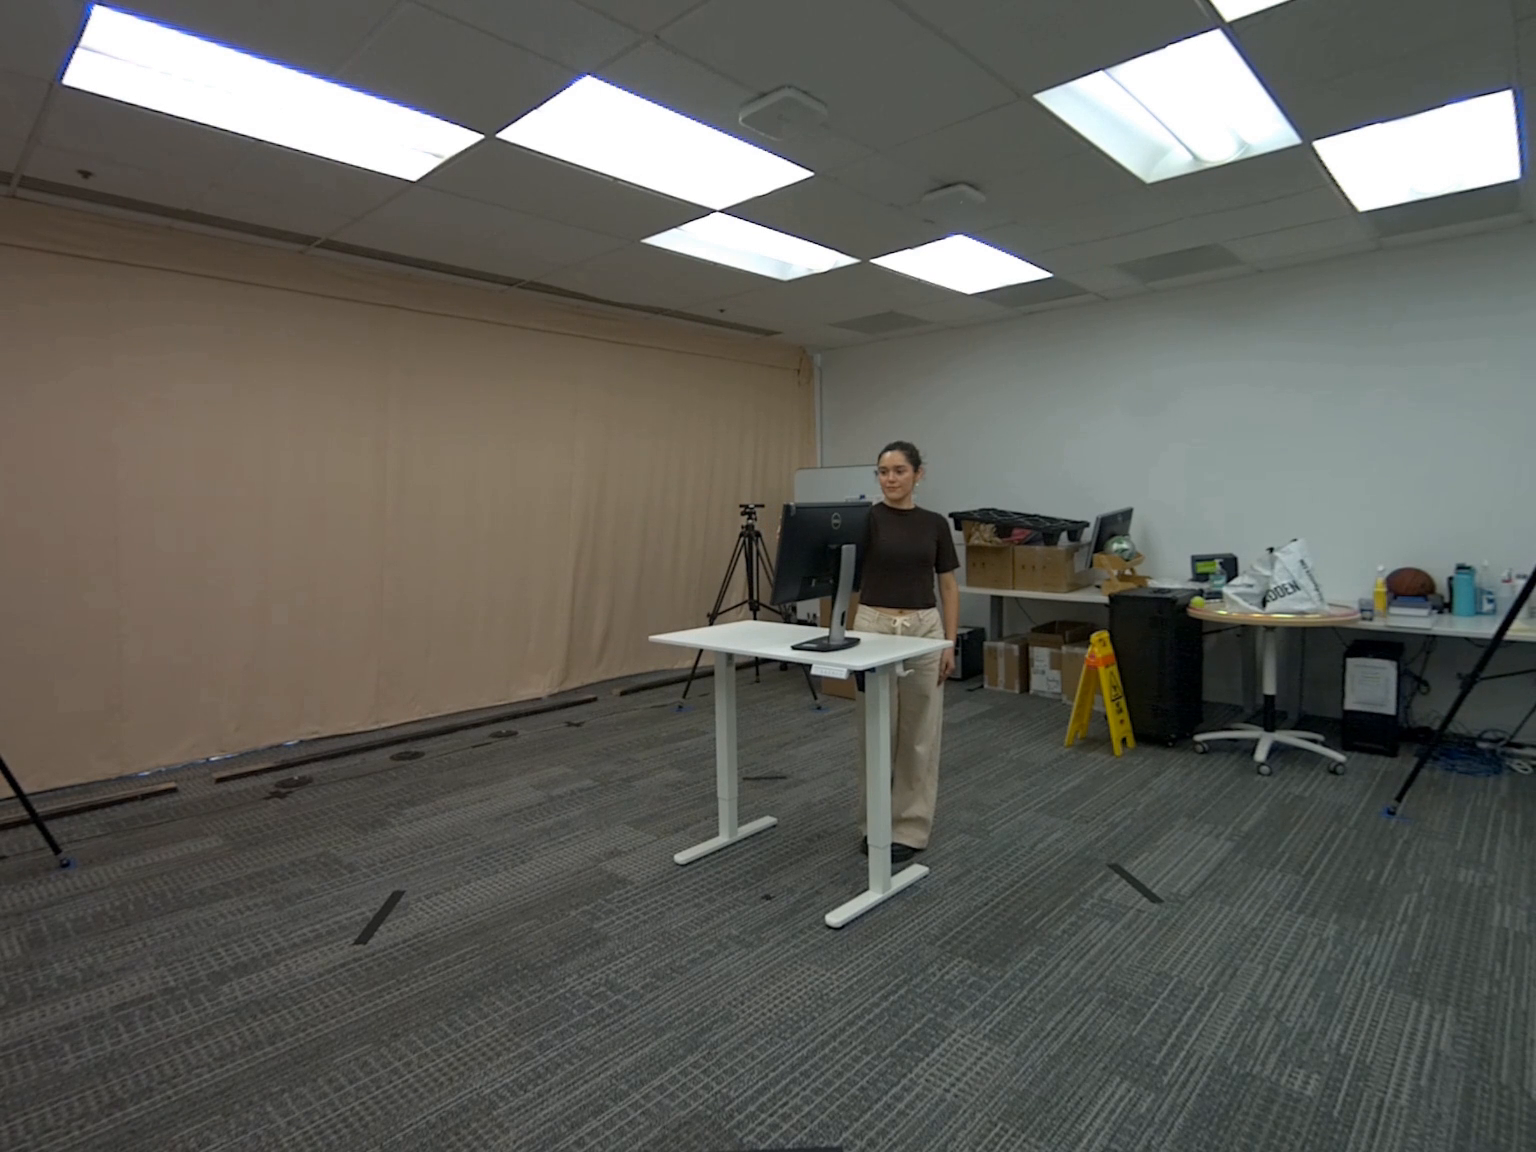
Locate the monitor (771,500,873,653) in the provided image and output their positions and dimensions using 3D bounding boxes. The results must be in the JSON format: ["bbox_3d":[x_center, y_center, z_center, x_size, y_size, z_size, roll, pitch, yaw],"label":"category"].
[{"bbox_3d":[0.223,0.000,2.994,0.193,0.521,0.523,0,4,40],"label":"monitor"}]
